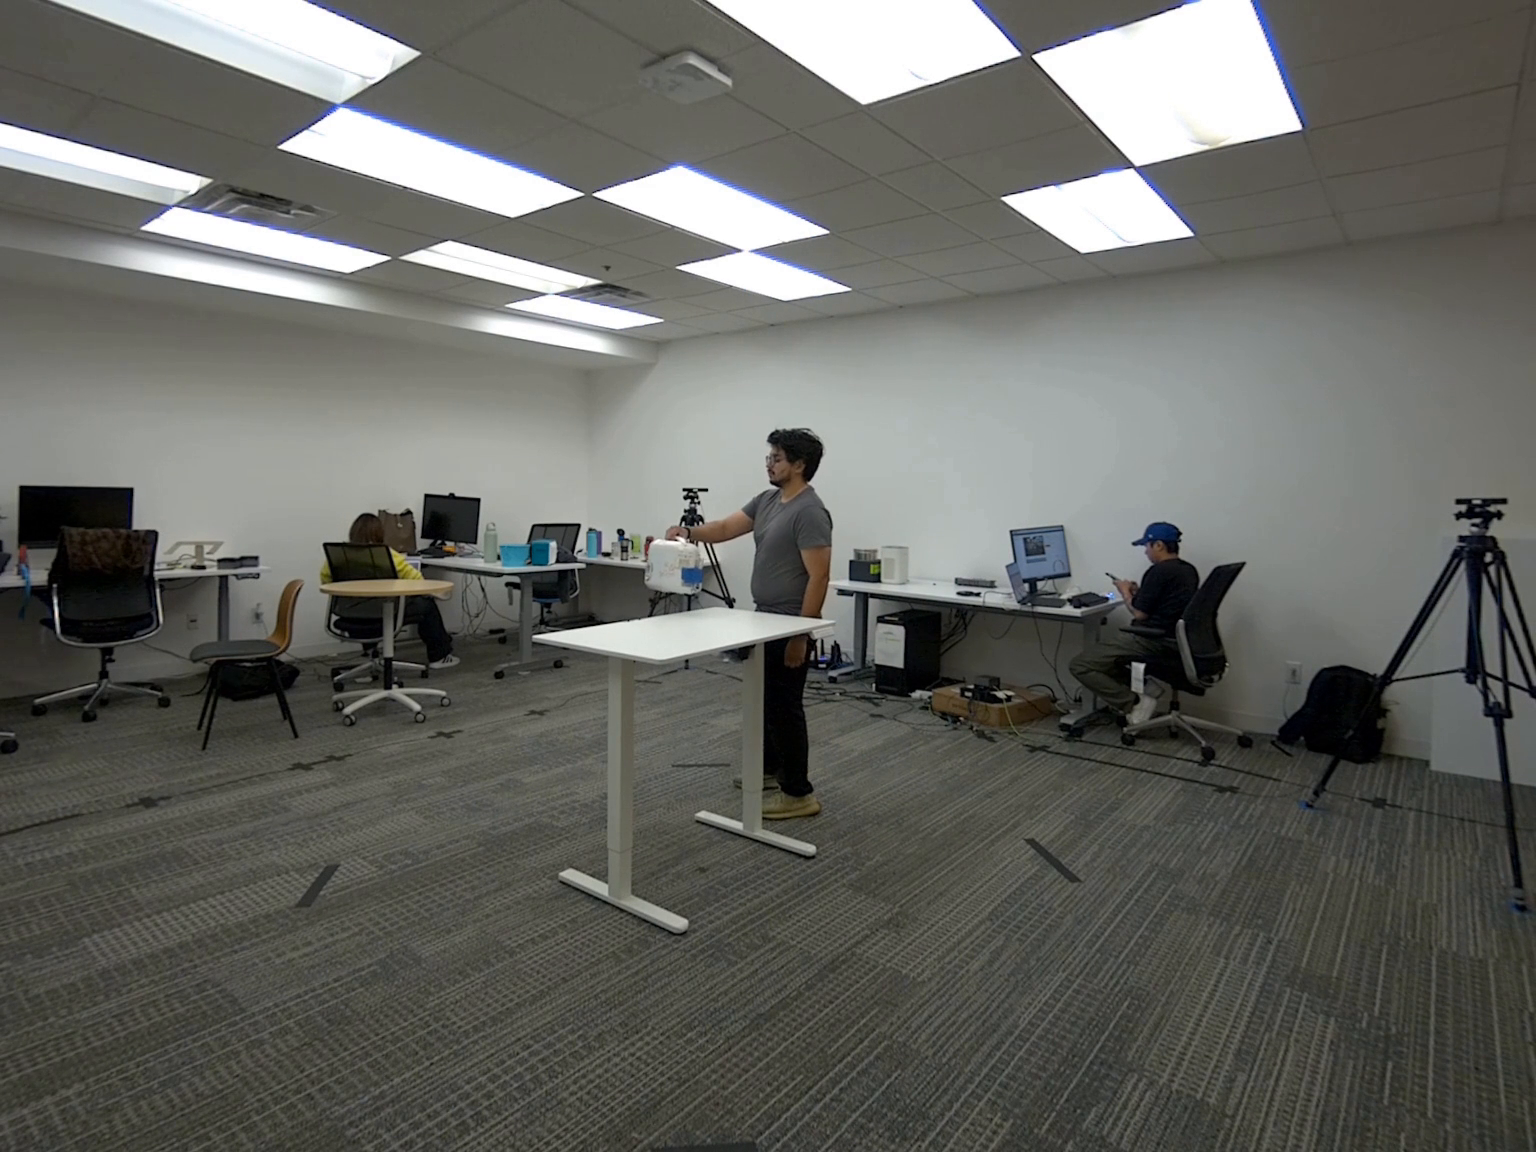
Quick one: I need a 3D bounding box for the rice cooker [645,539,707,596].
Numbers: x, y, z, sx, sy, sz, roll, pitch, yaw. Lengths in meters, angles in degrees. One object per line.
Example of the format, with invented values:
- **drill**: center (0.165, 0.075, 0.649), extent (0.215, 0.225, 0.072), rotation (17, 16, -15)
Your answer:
- **rice cooker**: center (-0.400, -0.052, 3.533), extent (0.211, 0.233, 0.227), rotation (8, -2, -29)
